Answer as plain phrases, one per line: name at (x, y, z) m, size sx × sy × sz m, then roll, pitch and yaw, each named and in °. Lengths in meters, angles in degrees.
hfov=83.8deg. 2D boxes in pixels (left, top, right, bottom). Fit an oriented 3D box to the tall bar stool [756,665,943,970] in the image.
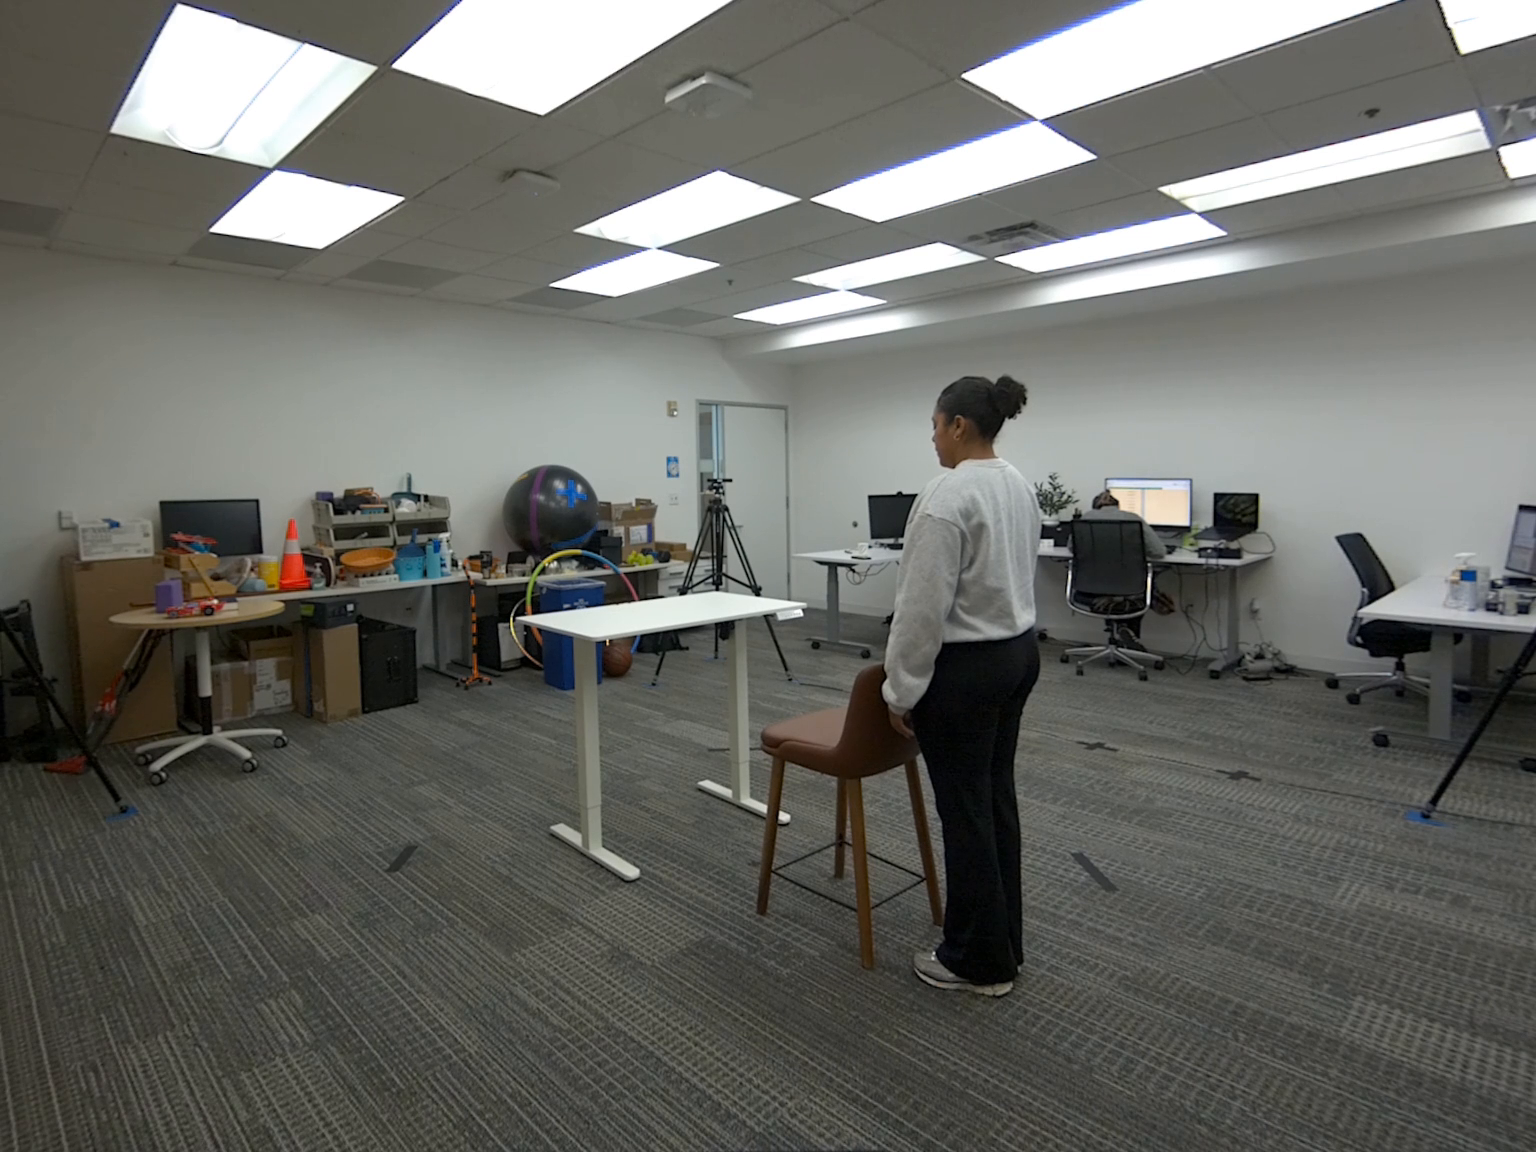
tall bar stool at (0.266, 0.649, 2.680) m, size 0.444 × 0.885 × 0.482 m, roll -5°, pitch 8°, yaw -42°
